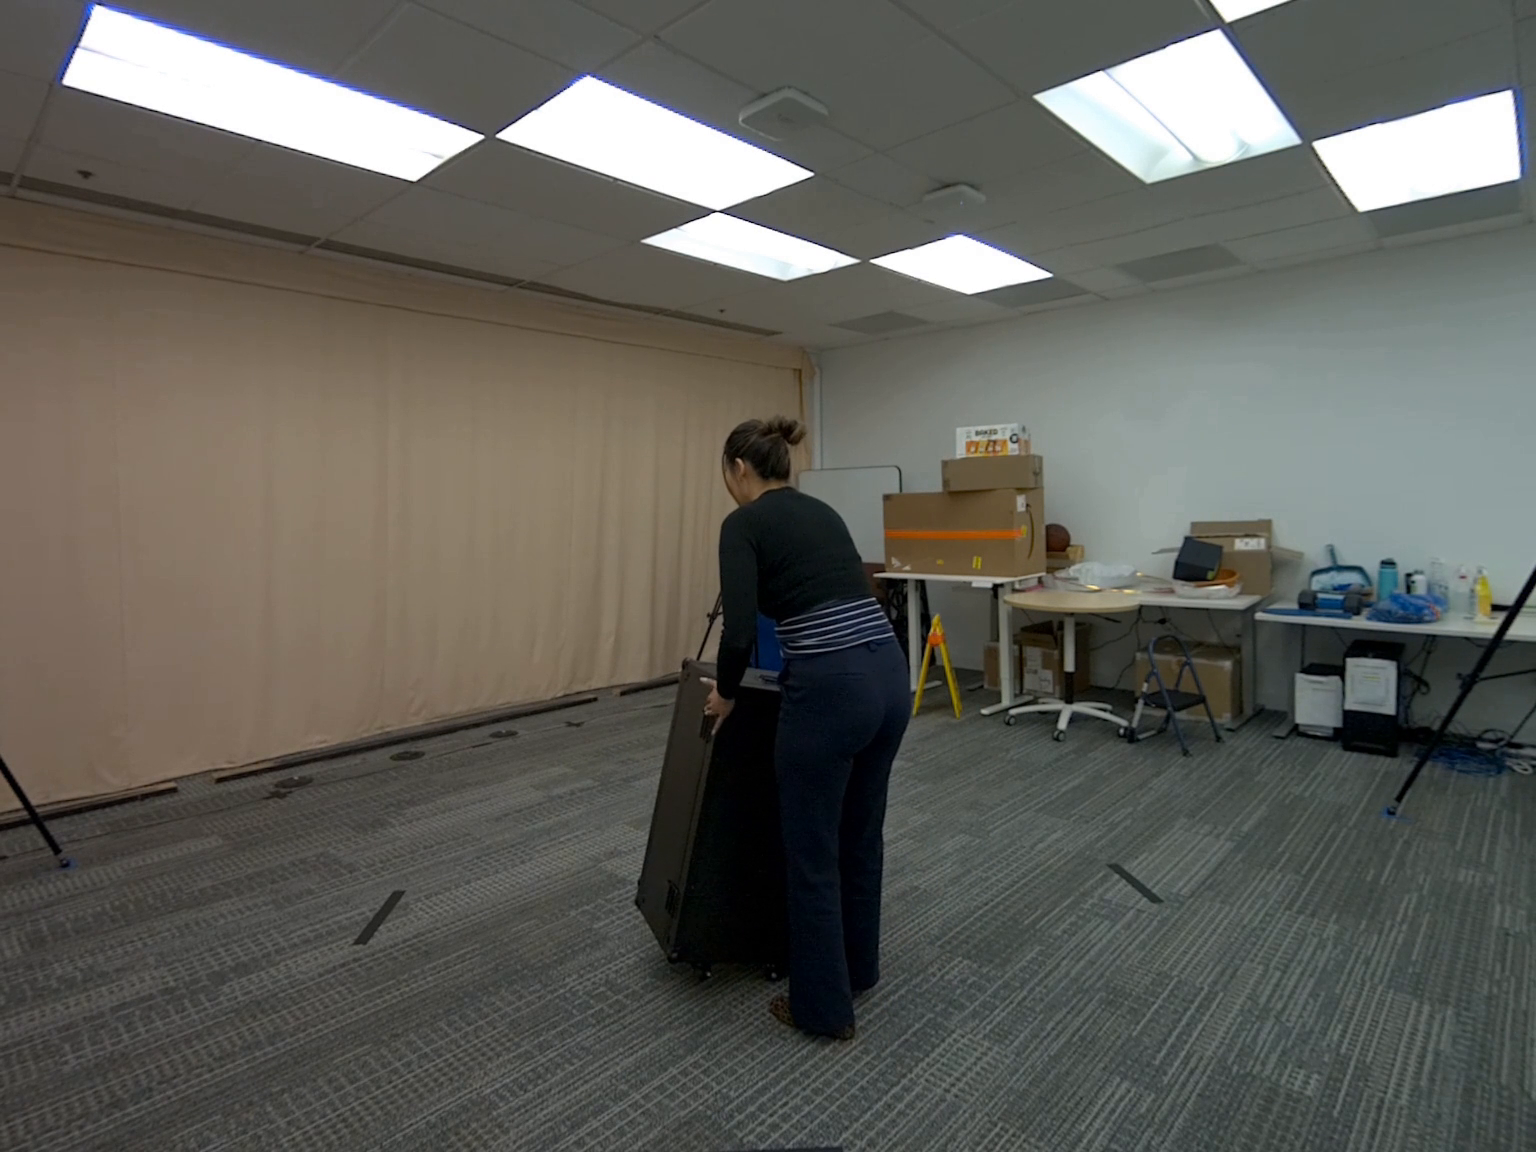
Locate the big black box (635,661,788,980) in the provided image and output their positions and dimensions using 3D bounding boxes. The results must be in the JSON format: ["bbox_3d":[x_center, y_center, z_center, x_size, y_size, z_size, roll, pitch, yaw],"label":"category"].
[{"bbox_3d":[-0.069,0.732,2.559,0.509,0.862,0.406,11,-1,-23],"label":"big black box"}]
